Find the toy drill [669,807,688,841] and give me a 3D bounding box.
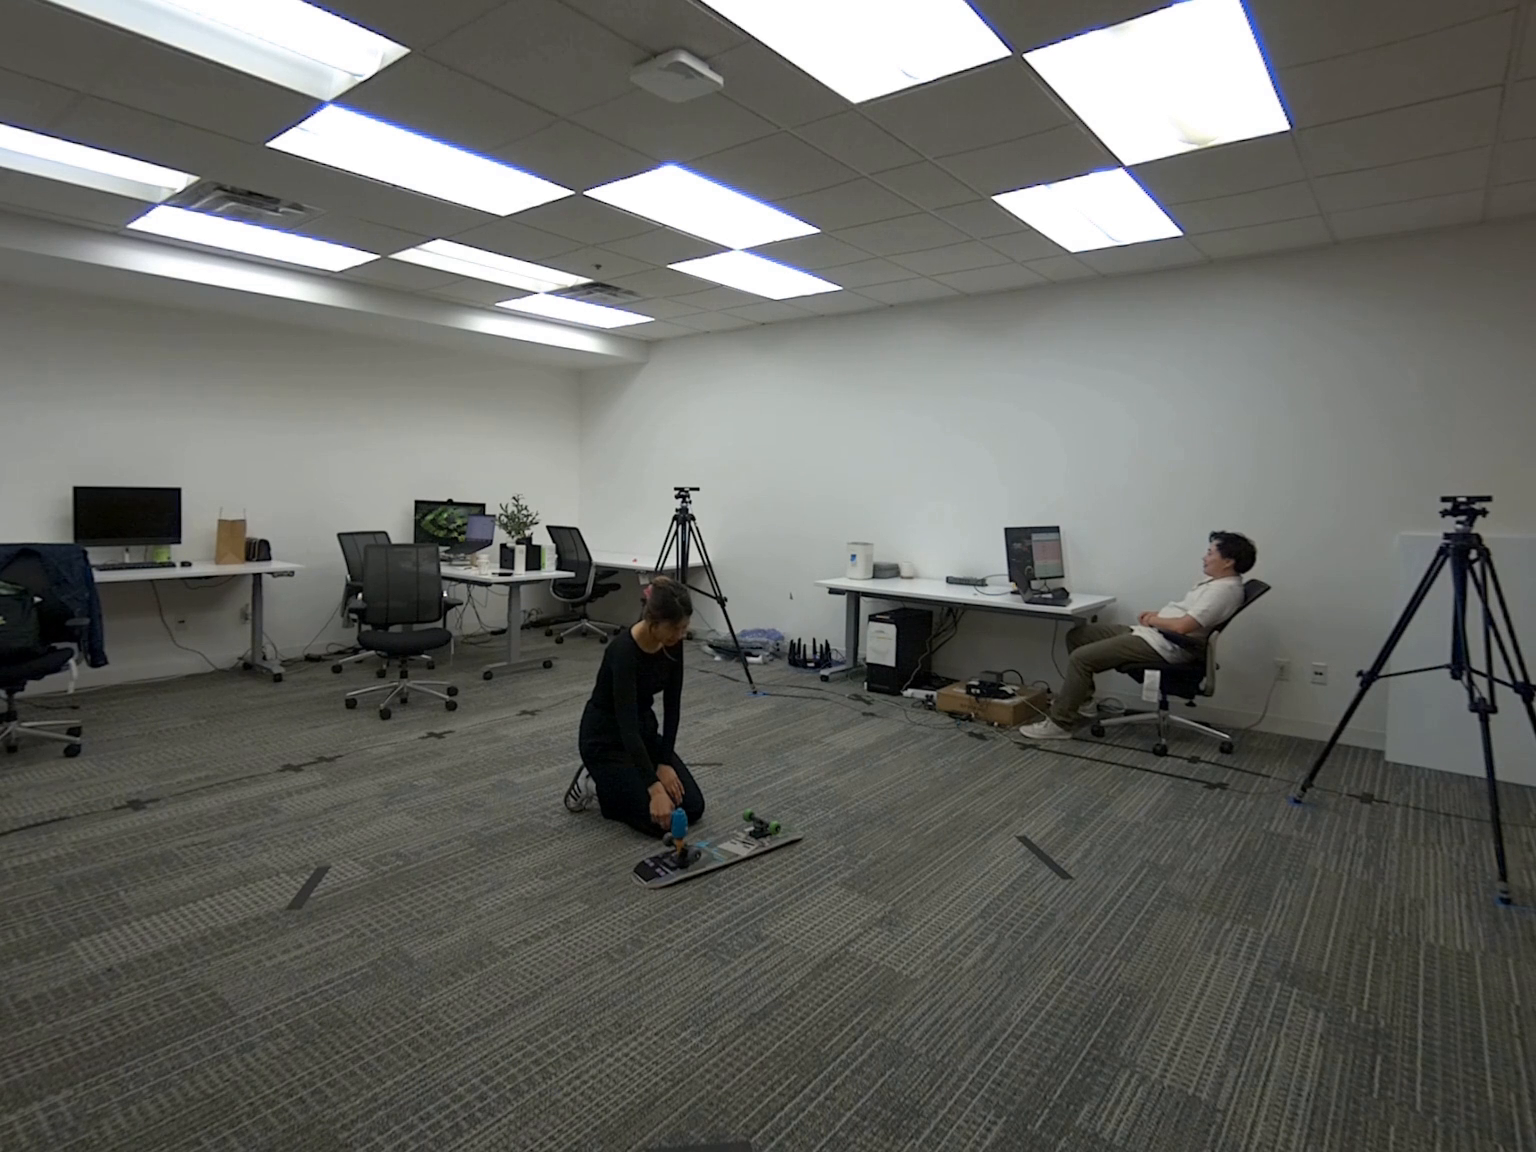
[{"bbox_3d":[-0.366,0.909,3.059,0.150,0.168,0.060,4,9,24],"label":"toy drill"}]
